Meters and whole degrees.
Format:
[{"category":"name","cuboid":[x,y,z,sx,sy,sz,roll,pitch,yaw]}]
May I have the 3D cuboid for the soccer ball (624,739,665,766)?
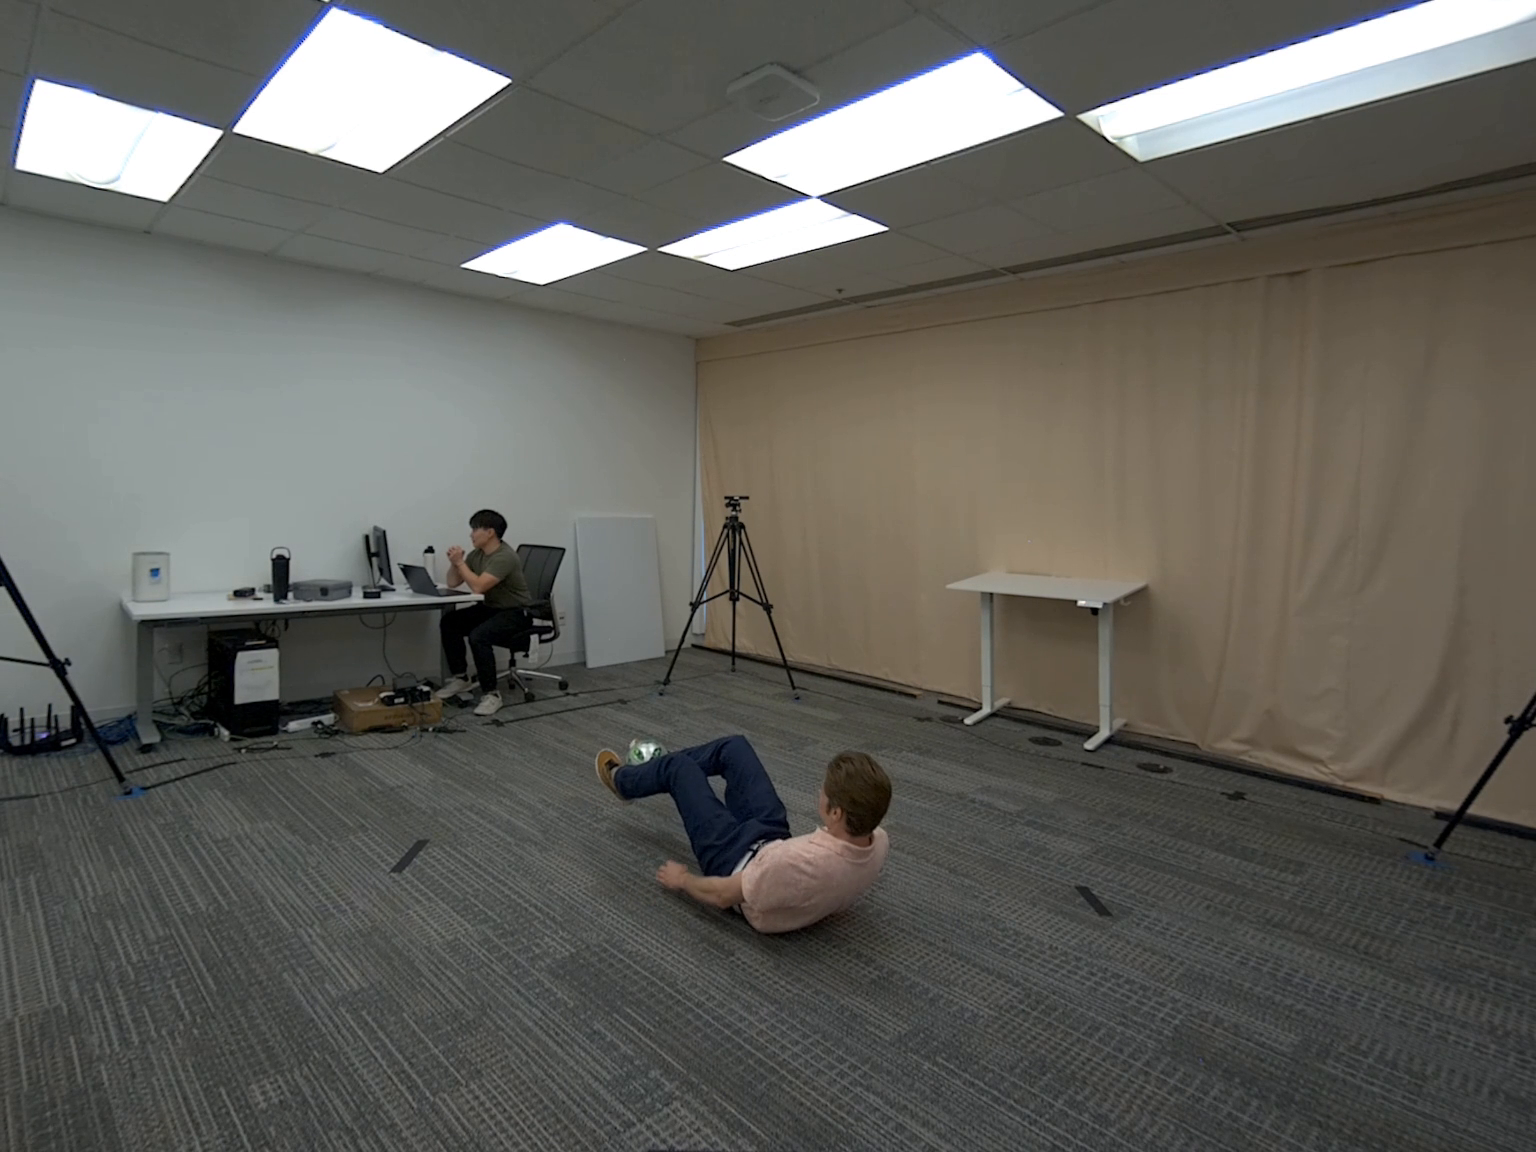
[{"category":"soccer ball","cuboid":[-0.487,0.759,3.383,0.187,0.187,0.188,1,4,-1]}]
